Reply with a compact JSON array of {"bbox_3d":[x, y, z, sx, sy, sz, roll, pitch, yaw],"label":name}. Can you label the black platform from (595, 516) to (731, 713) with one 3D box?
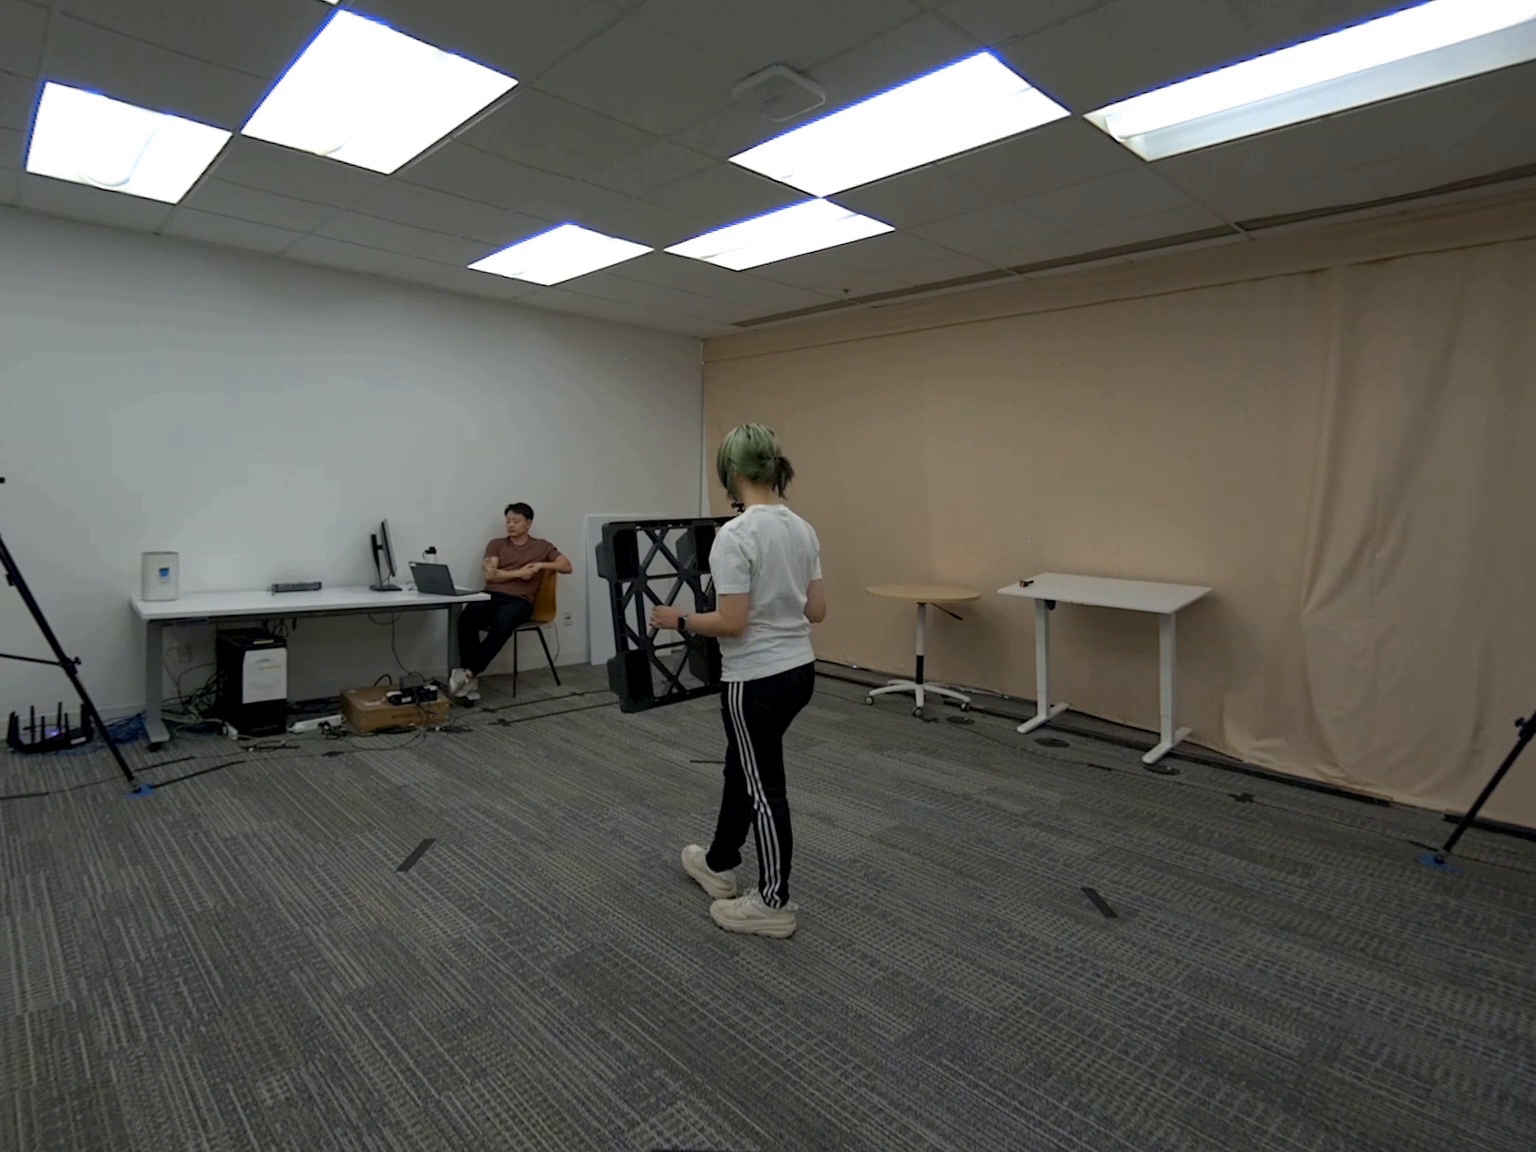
[{"bbox_3d":[-0.233,0.105,2.916,0.788,0.606,0.146,-6,-2,-44],"label":"black platform"}]
